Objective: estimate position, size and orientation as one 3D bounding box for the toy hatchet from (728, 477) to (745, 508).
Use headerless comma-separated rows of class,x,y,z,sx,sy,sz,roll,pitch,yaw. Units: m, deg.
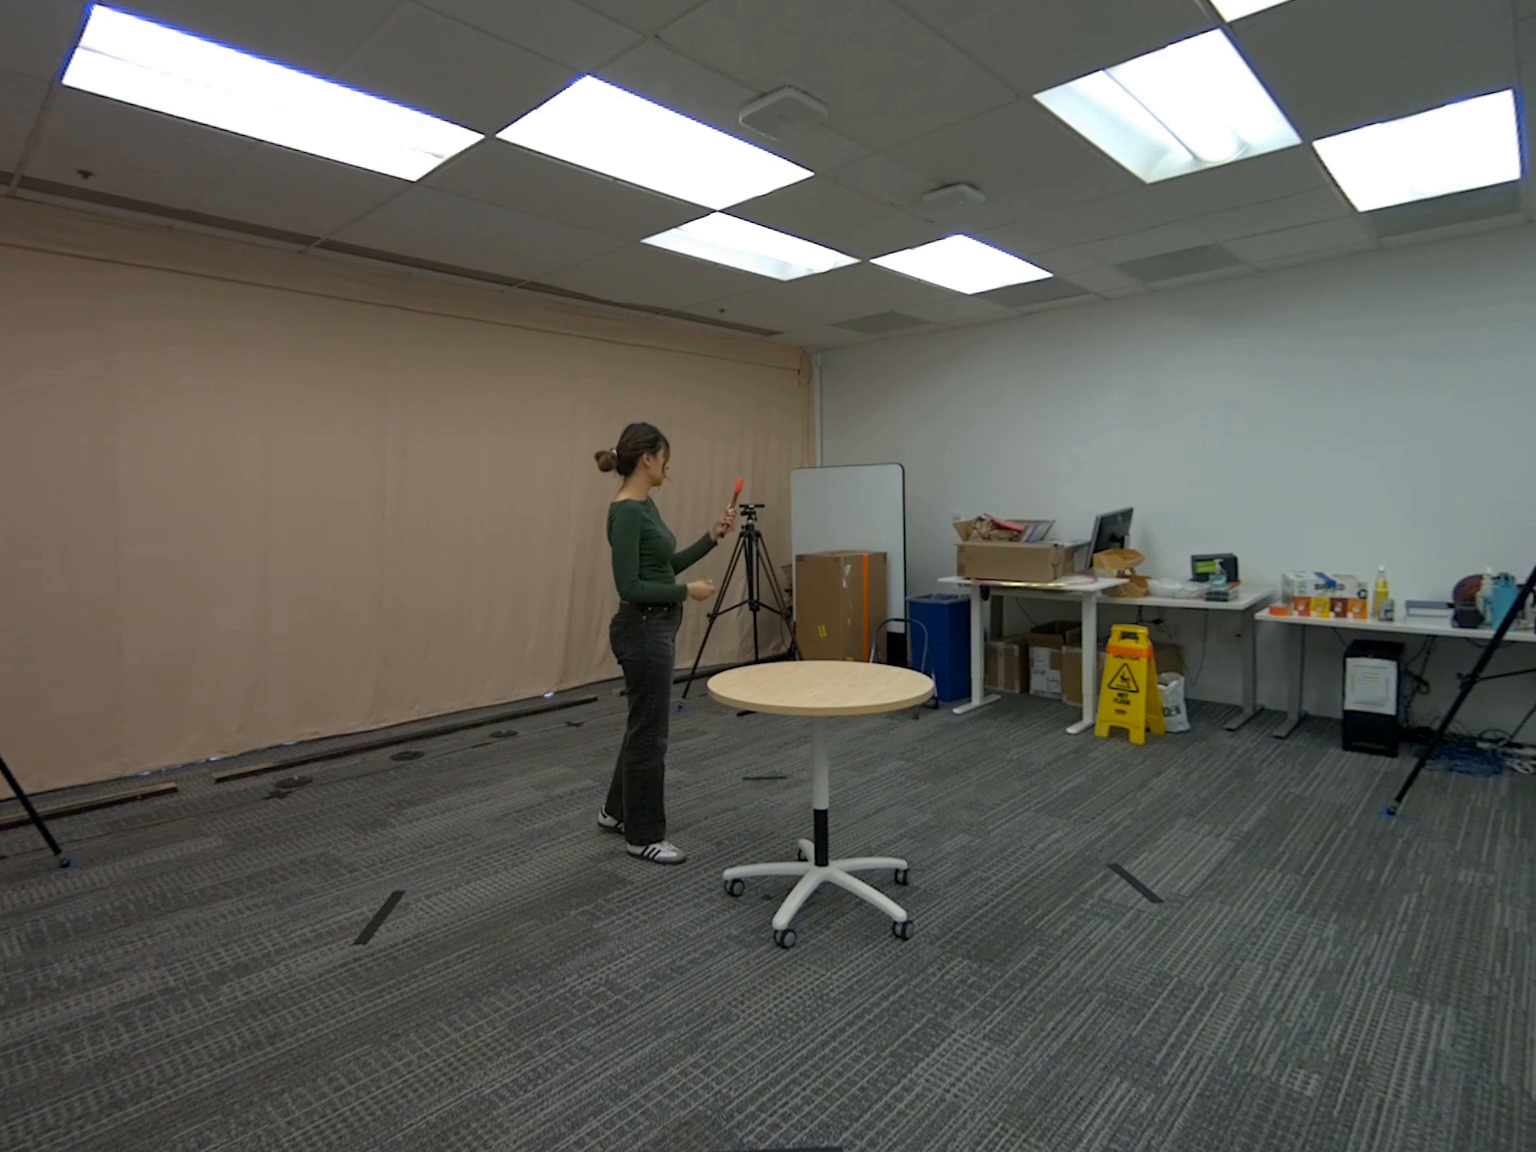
toy hatchet,-0.146,-0.298,3.423,0.029,0.272,0.130,19,-32,-1
